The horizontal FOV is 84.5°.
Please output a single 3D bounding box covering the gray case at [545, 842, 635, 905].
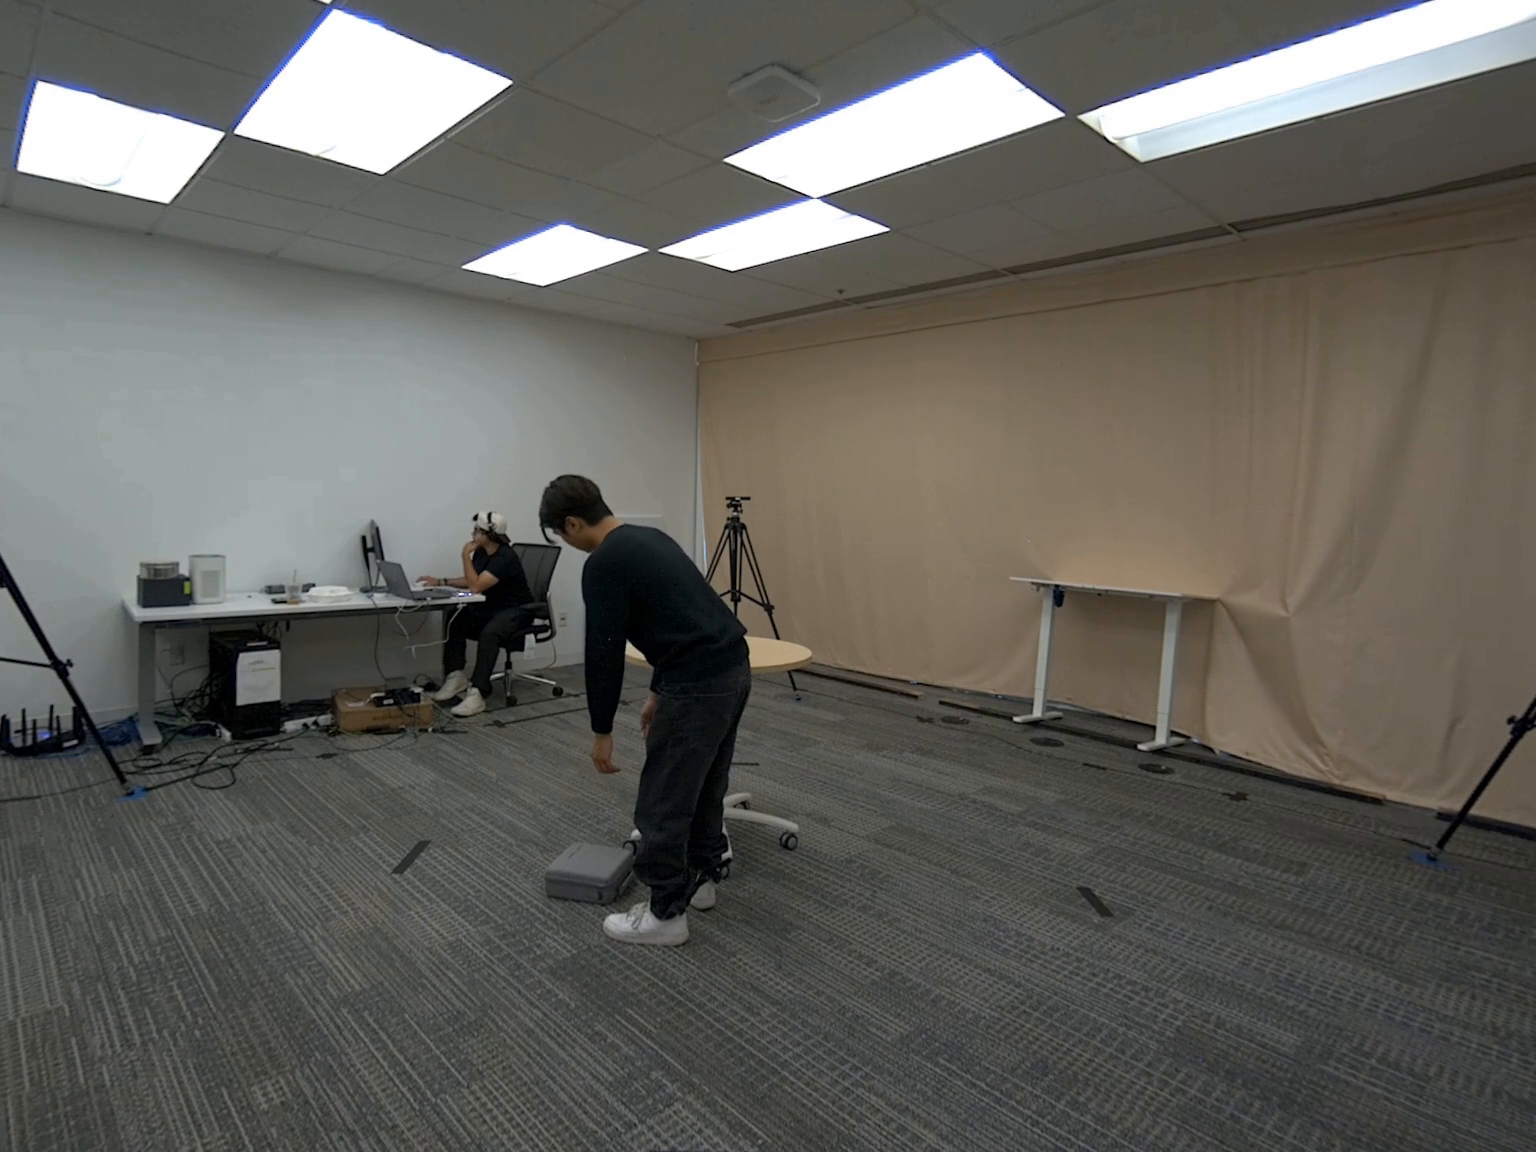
[{"bbox_3d":[-0.623,1.044,2.993,0.264,0.104,0.255,3,6,13],"label":"gray case"}]
